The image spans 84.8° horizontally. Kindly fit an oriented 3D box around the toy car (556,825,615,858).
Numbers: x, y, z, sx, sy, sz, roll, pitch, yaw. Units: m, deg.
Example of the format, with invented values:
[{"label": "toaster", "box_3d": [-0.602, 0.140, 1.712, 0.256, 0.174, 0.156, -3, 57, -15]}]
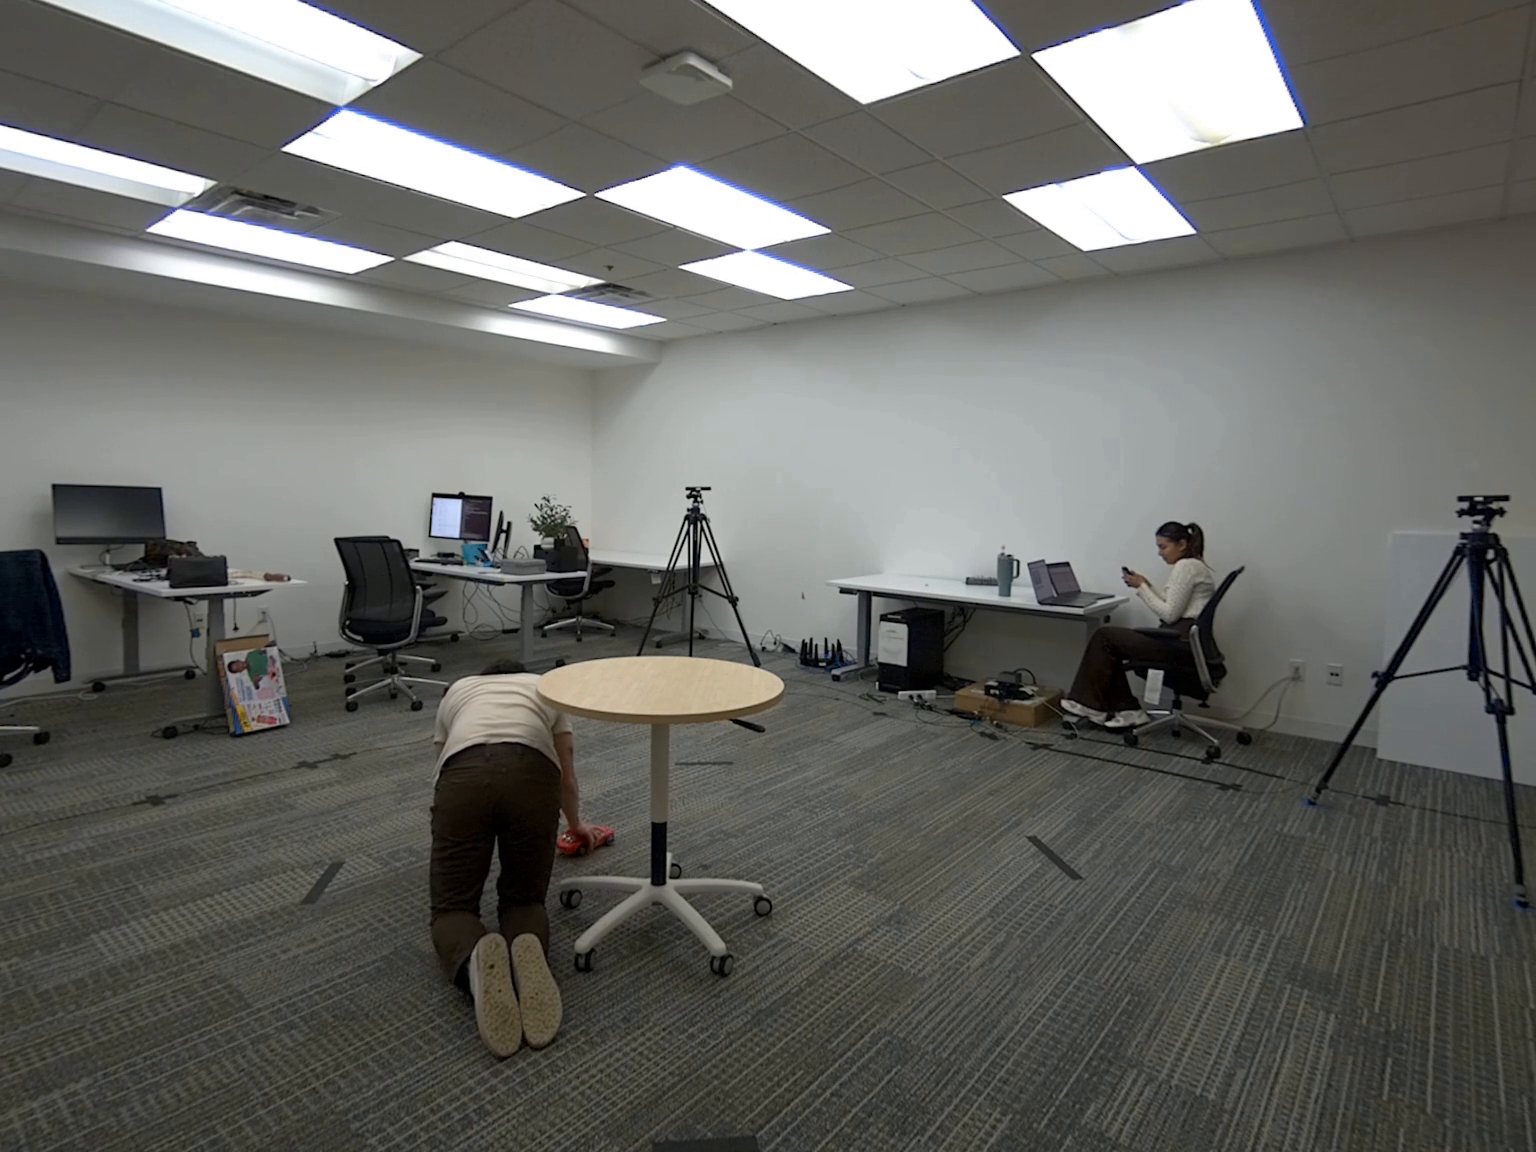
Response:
[{"label": "toy car", "box_3d": [-0.733, 1.011, 3.248, 0.135, 0.083, 0.245, 5, -4, 39]}]
